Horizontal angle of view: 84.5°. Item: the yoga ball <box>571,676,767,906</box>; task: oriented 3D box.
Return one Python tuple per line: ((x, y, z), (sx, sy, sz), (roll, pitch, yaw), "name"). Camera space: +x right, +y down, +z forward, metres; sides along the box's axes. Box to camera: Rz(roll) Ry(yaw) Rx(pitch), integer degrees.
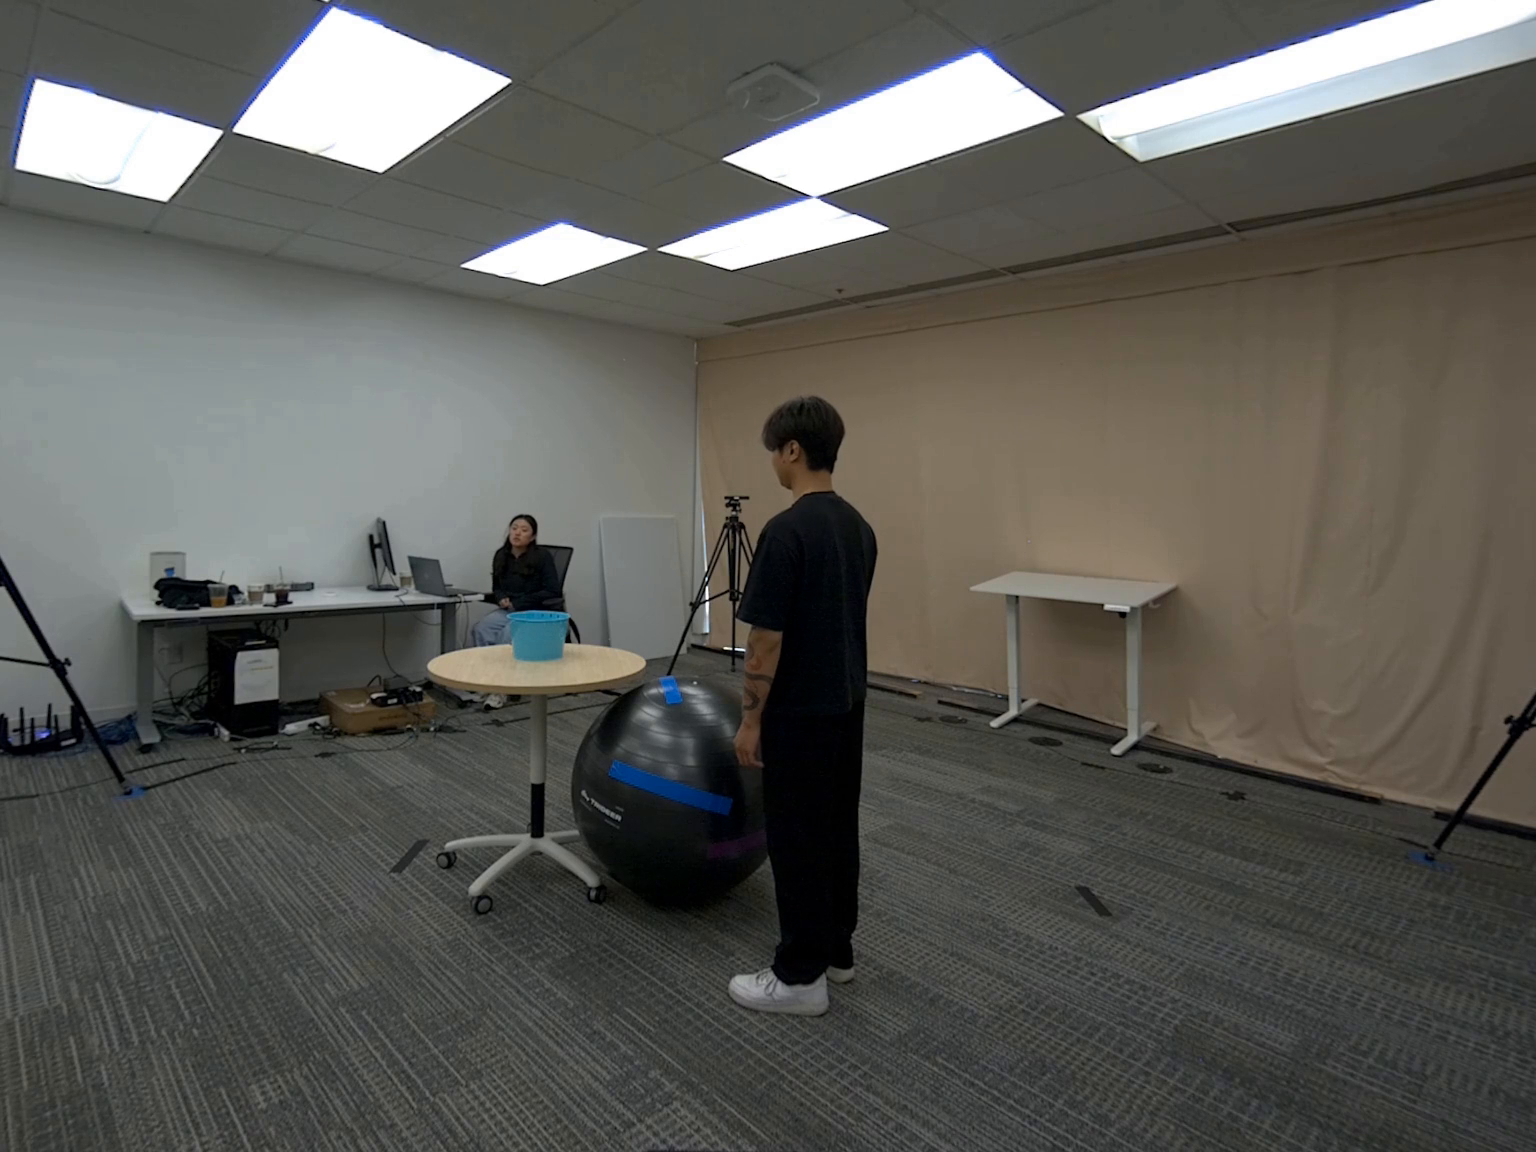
((-0.305, 0.741, 2.951), (0.757, 0.756, 0.761), (1, 4, -1), "yoga ball")
